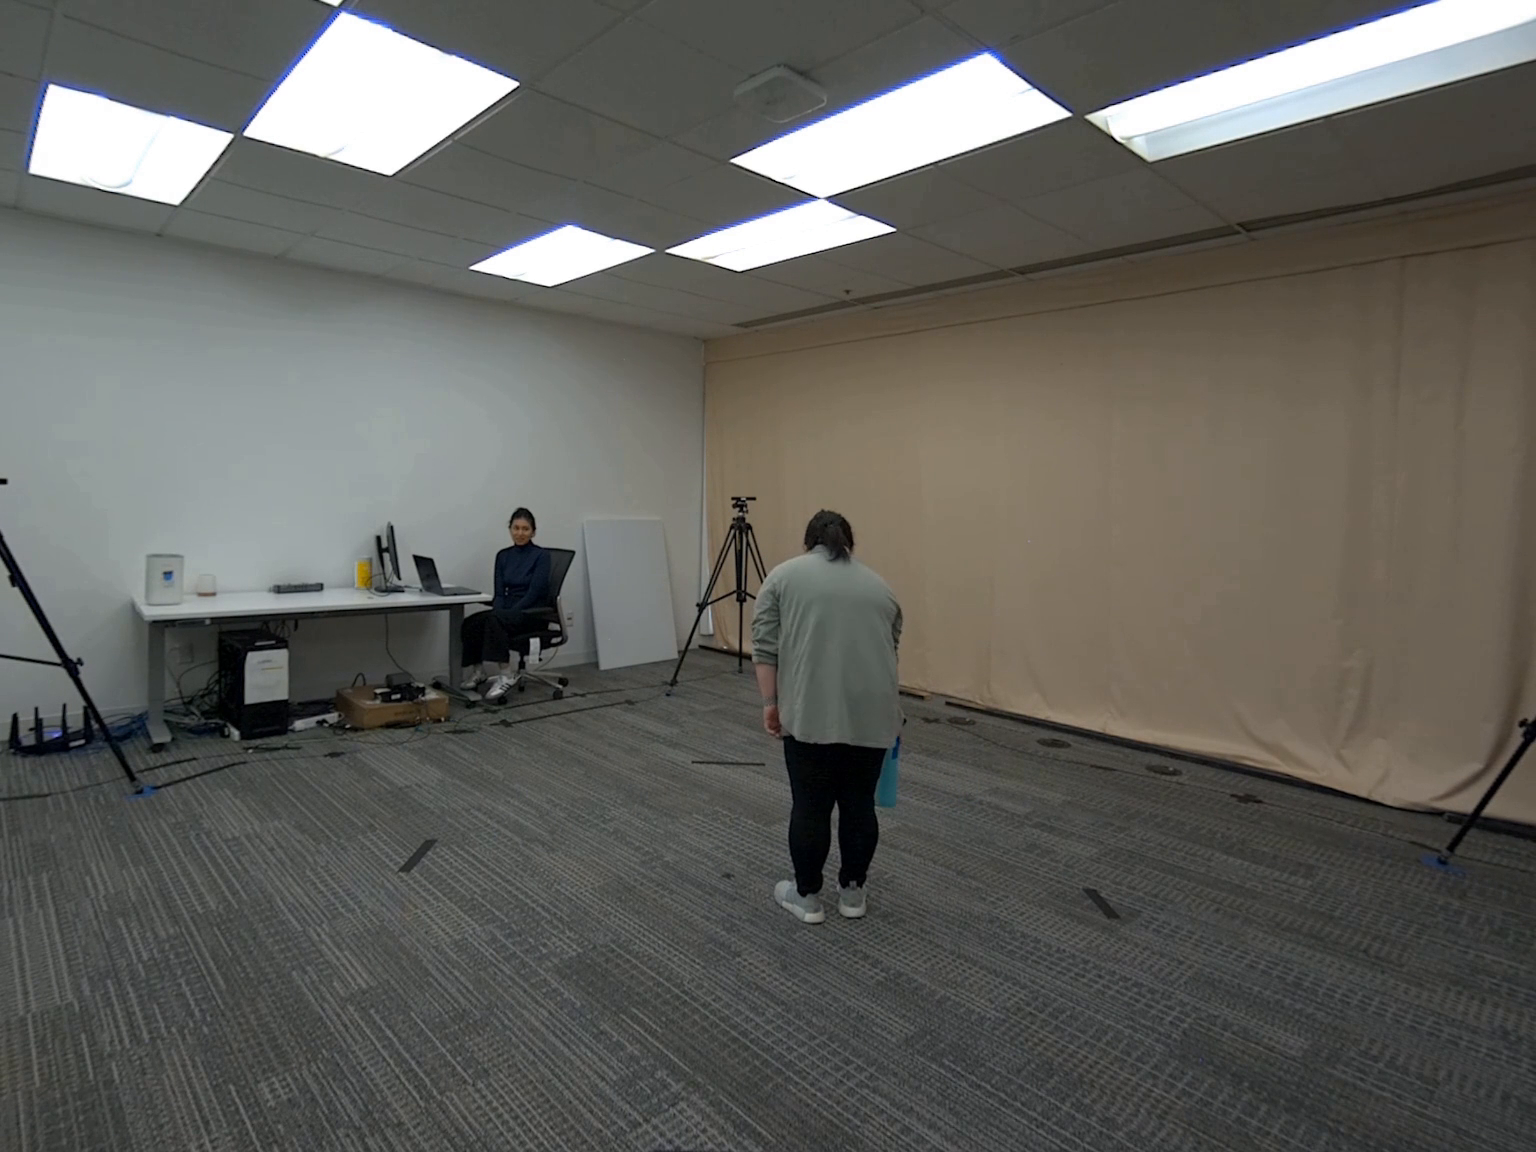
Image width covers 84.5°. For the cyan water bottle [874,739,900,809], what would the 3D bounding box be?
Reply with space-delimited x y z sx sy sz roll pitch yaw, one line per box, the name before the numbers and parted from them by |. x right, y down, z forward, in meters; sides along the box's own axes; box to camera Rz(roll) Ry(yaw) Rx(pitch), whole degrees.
cyan water bottle | 0.424 0.693 3.078 0.092 0.283 0.092 1 2 -1
